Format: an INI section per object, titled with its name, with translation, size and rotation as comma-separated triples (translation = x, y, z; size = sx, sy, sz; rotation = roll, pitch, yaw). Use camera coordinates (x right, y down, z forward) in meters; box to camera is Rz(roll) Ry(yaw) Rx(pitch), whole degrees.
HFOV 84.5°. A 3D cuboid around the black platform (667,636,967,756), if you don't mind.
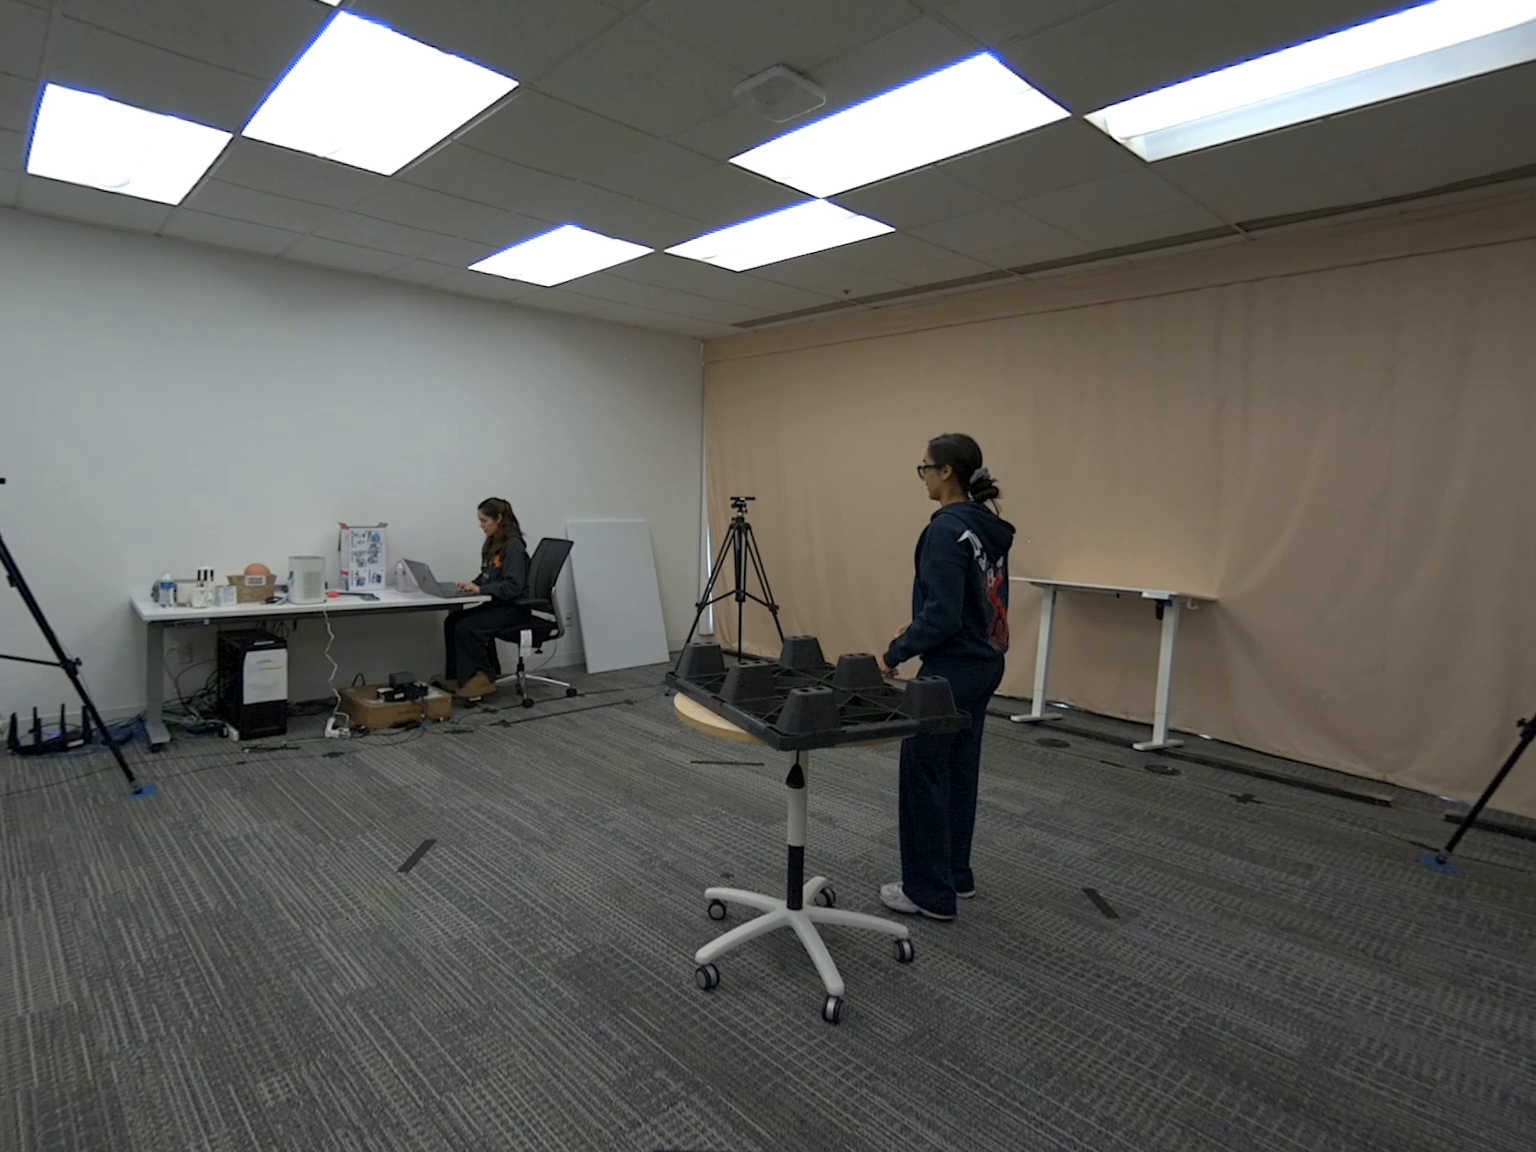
[black platform]
translation = 0.101, 0.320, 2.518
size = 0.594, 0.143, 0.823
rotation = -1, 6, -28
